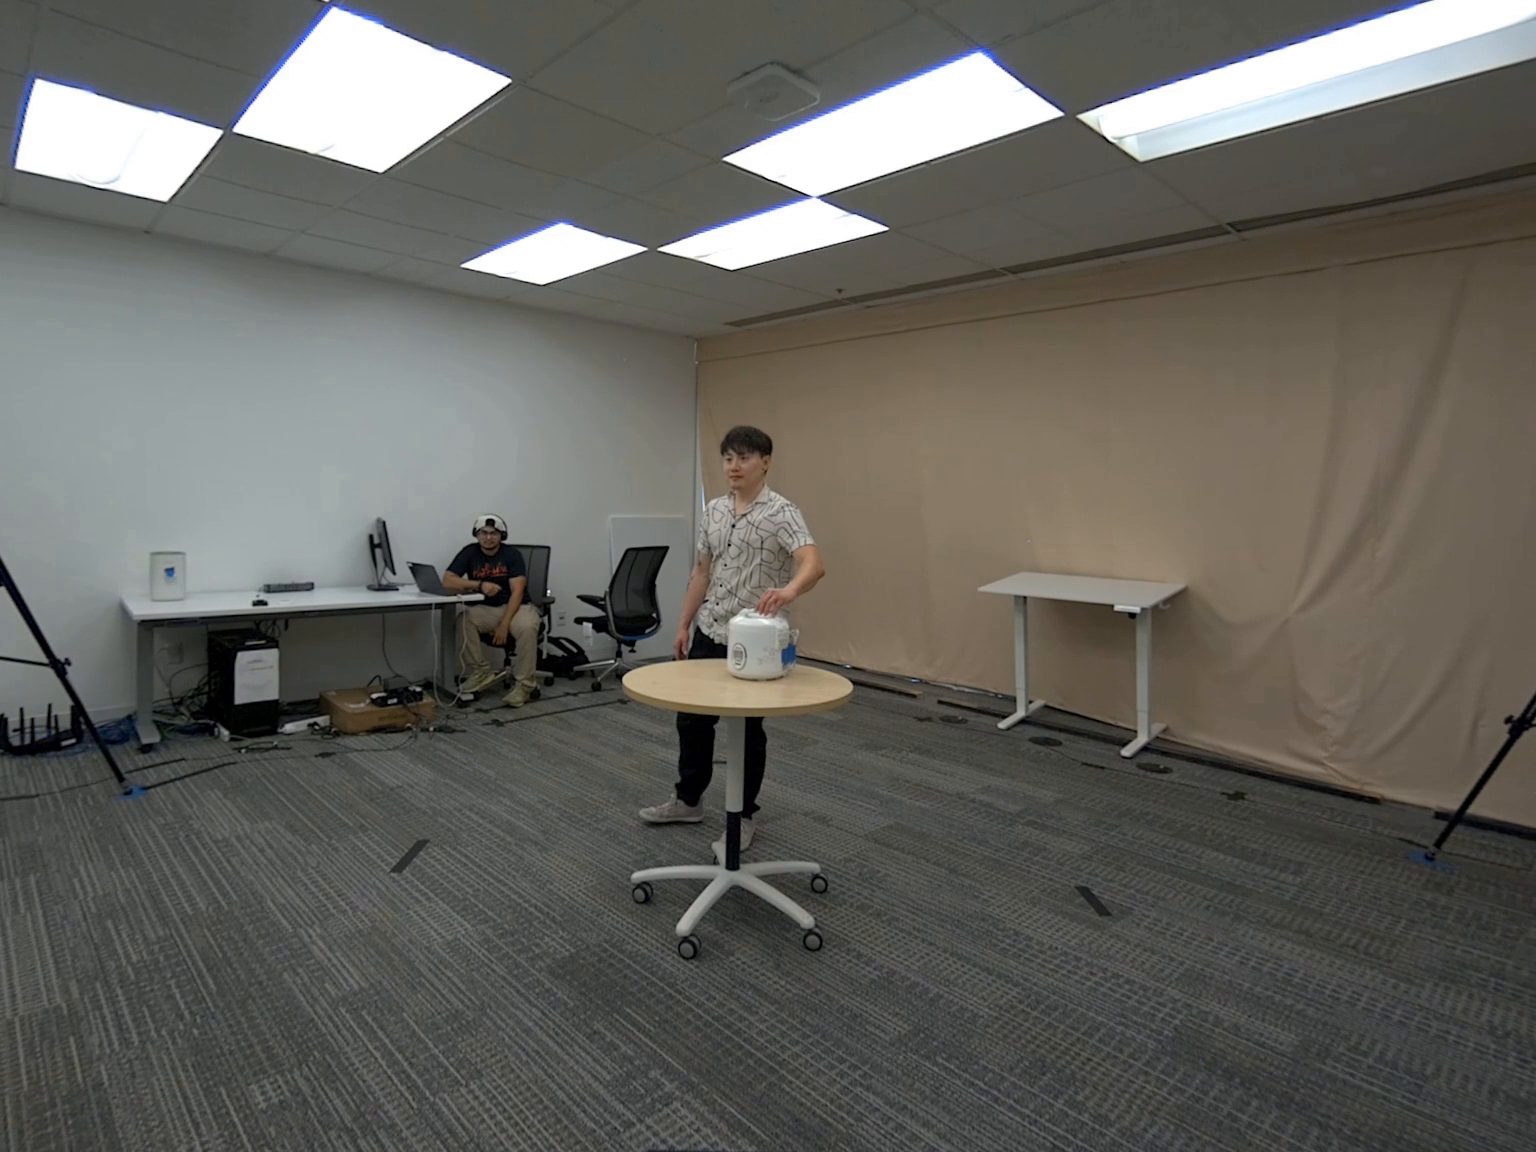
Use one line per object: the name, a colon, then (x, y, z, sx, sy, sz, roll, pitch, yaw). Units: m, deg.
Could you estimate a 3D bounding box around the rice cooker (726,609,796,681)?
rice cooker: (-0.042, 0.228, 2.886, 0.226, 0.232, 0.212, 5, 4, 37)
